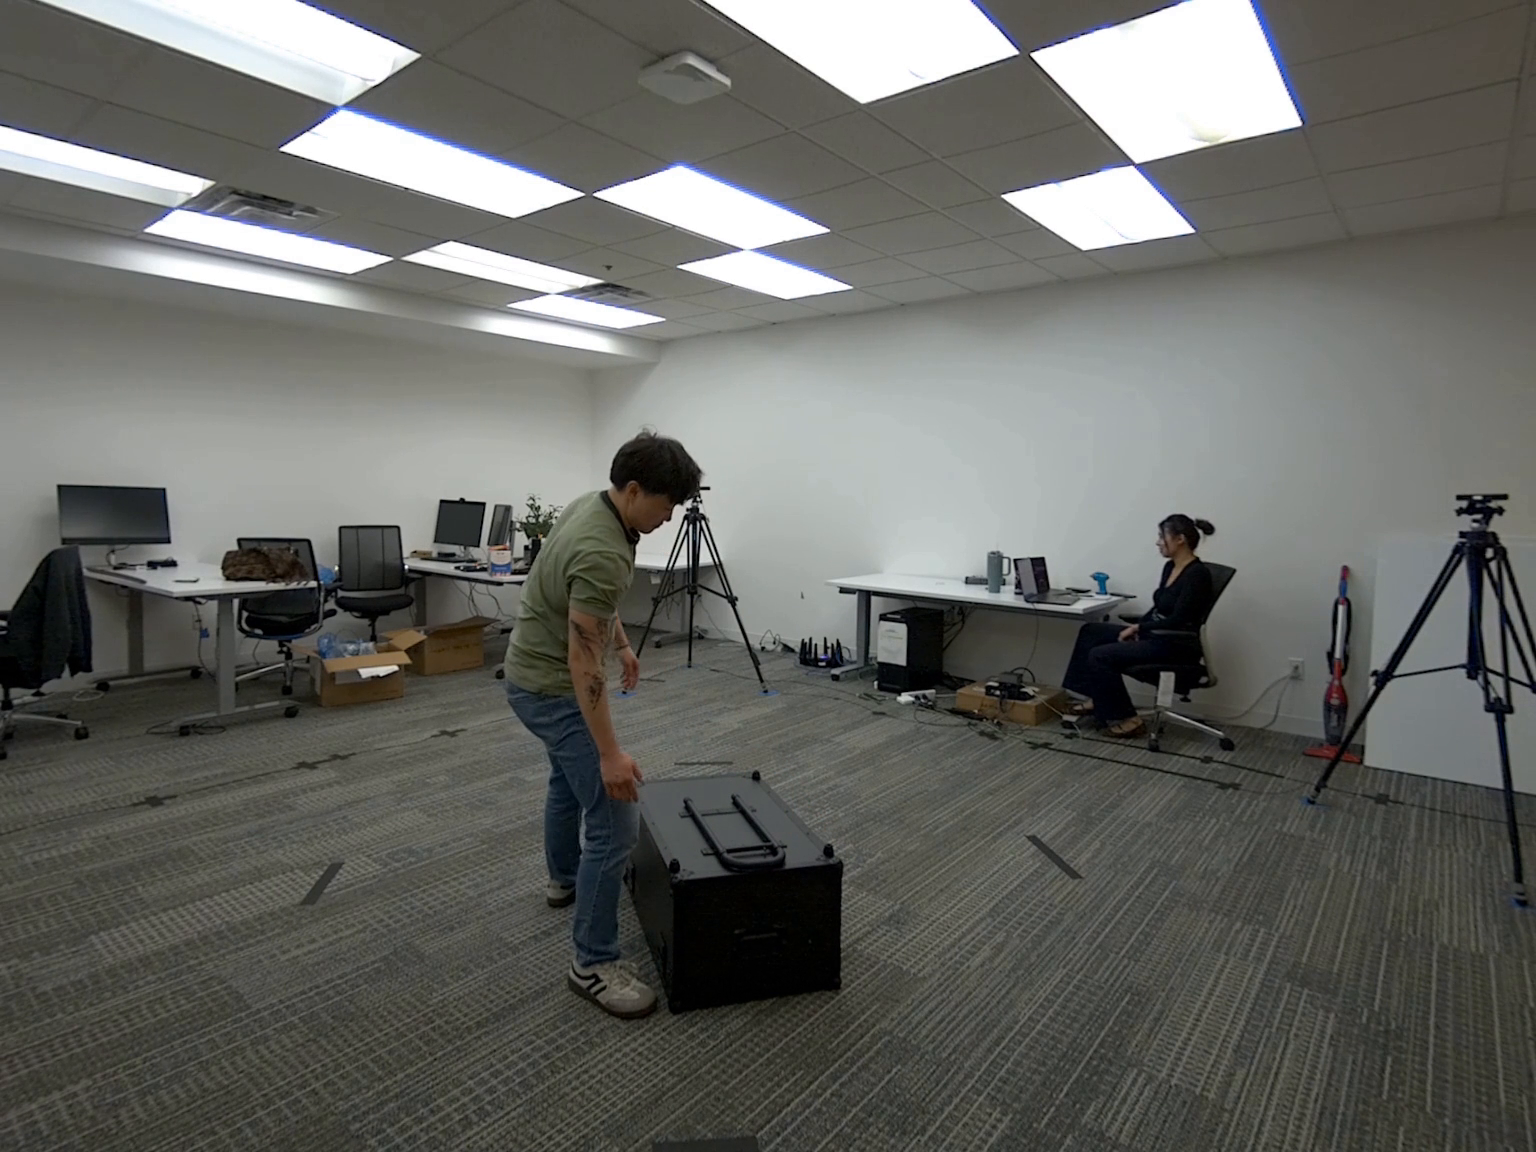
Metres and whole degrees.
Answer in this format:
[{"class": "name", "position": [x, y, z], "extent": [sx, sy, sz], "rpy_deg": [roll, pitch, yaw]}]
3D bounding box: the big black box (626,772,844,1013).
[{"class": "big black box", "position": [-0.170, 0.911, 2.697], "extent": [0.512, 0.395, 0.879], "rpy_deg": [-1, 4, -18]}]
